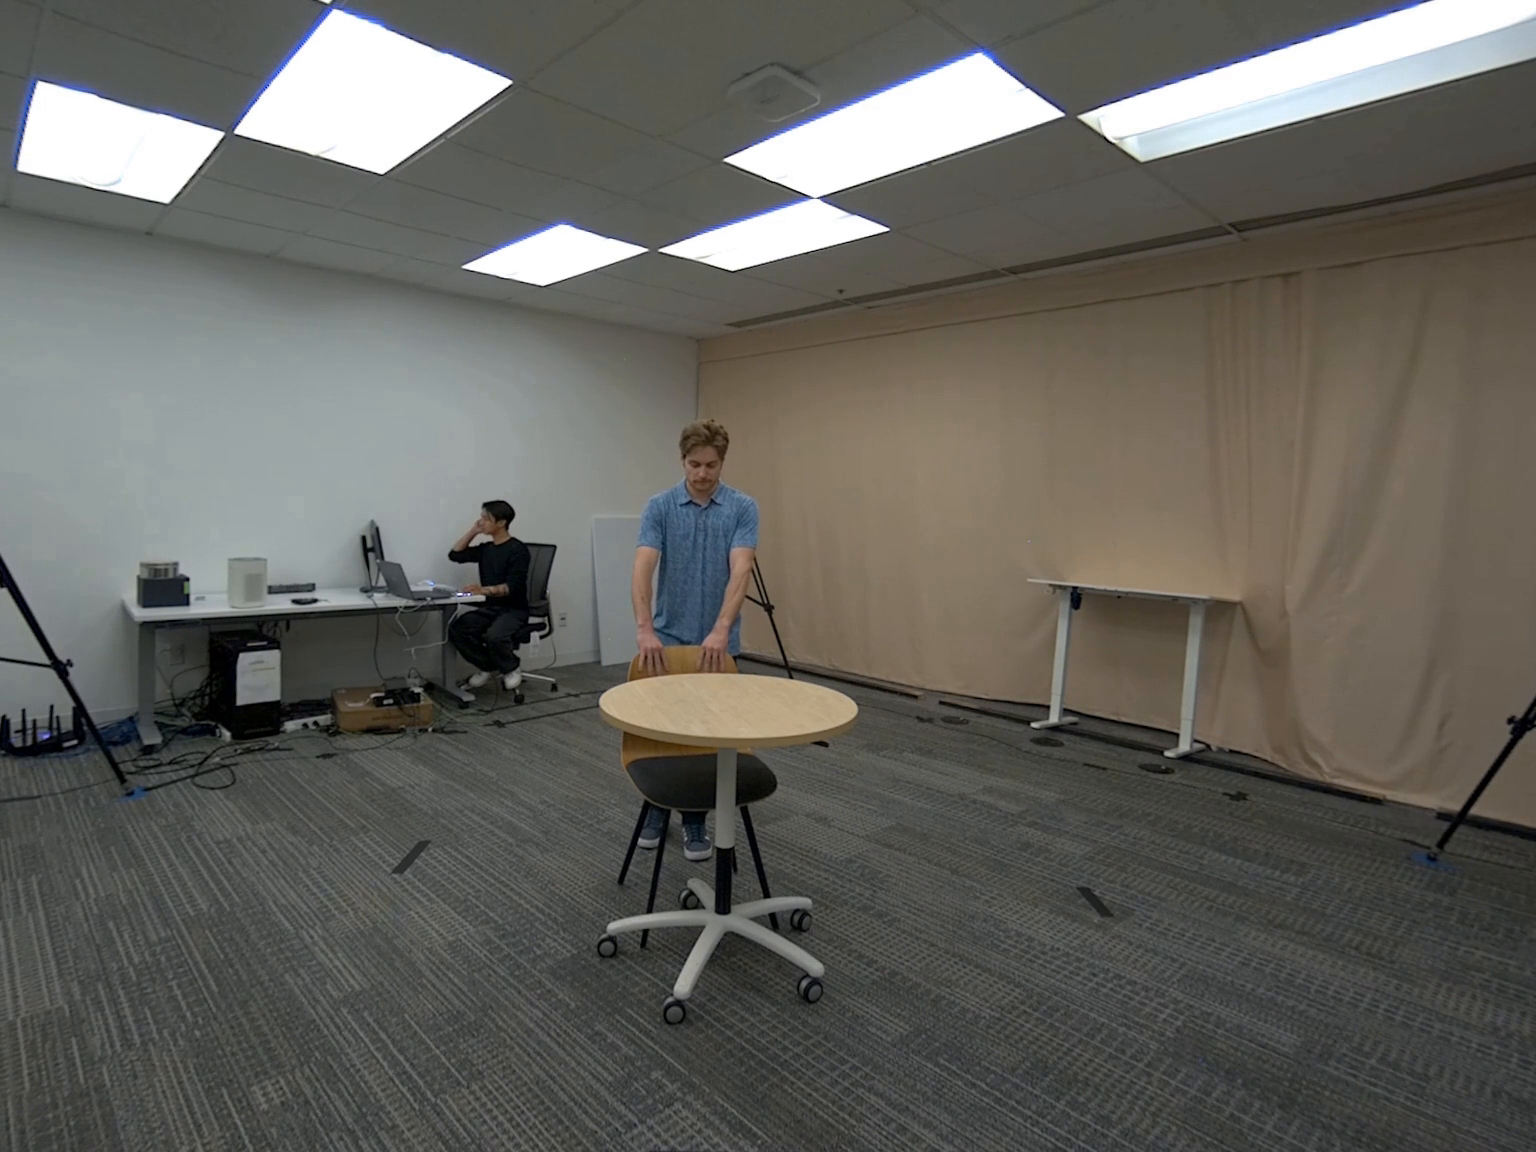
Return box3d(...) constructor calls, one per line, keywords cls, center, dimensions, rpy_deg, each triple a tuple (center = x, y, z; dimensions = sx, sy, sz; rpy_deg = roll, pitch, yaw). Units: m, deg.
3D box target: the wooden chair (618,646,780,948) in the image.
box3d(cls="wooden chair", center=(-0.252, 0.702, 2.832), dimensions=(0.471, 0.878, 0.530), rpy_deg=(0, 0, -19))
